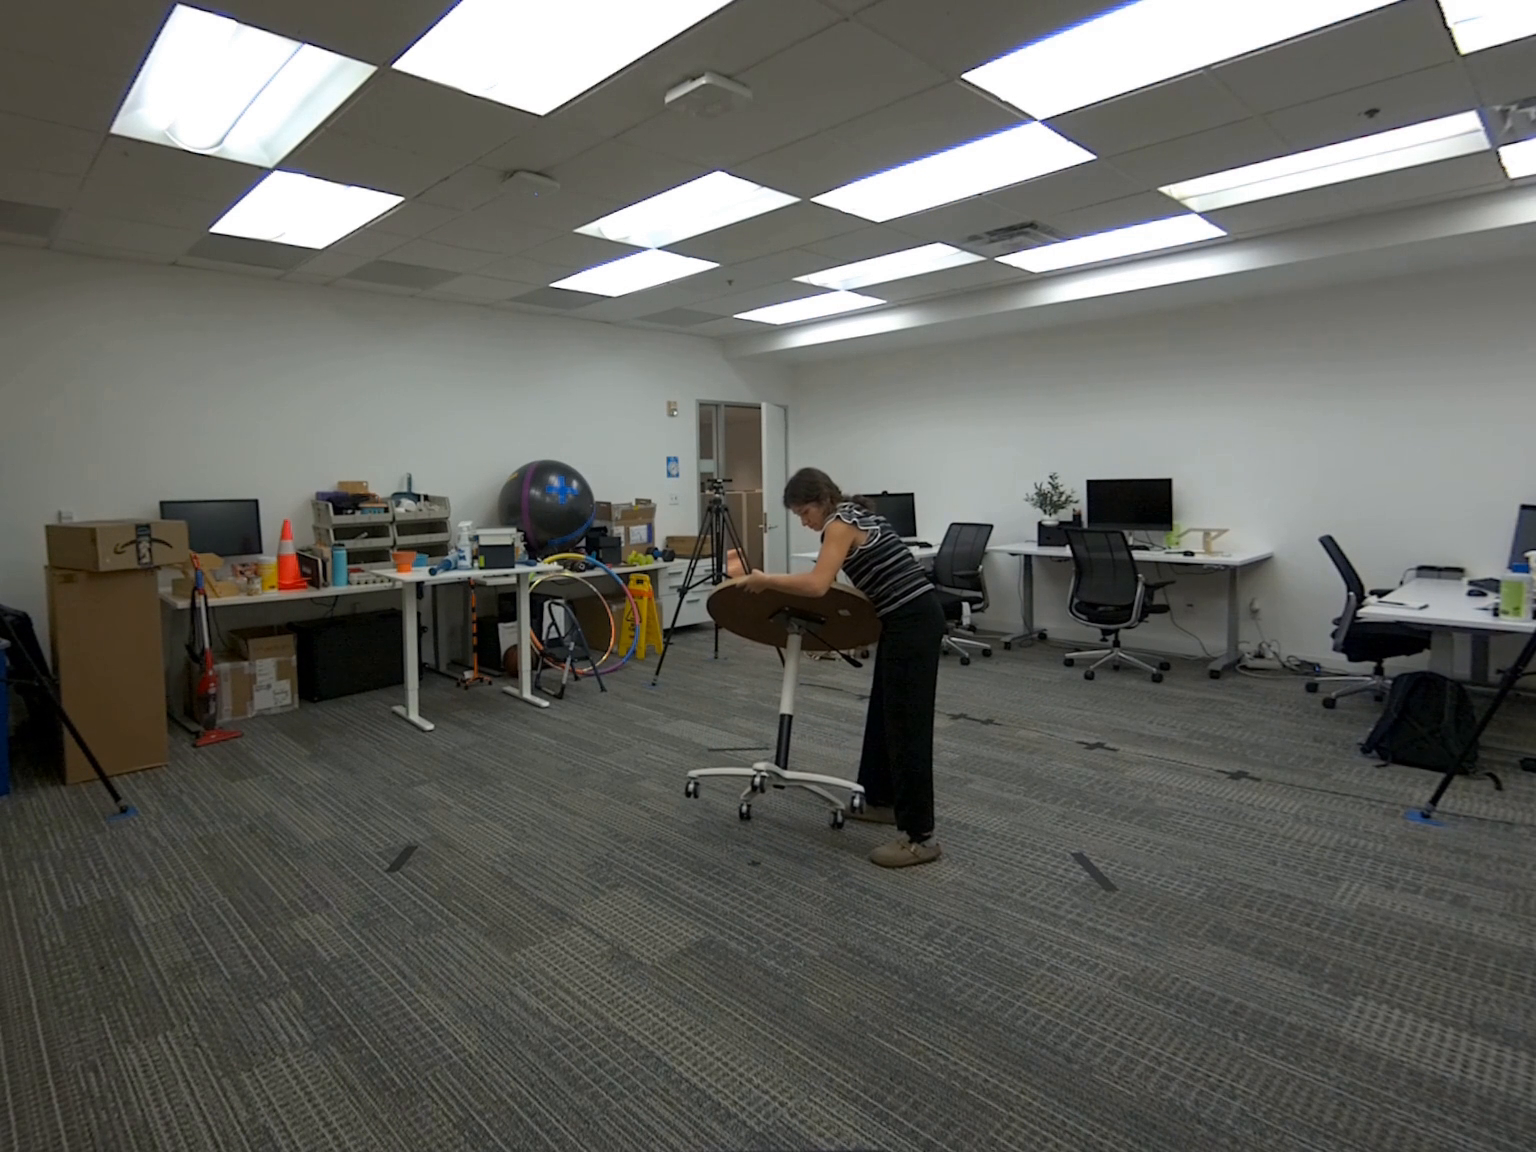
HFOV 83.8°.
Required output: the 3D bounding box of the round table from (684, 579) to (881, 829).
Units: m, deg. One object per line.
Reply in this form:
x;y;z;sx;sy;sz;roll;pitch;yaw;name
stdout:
0.080;0.513;3.372;0.787;0.801;0.769;7;-25;2;round table
